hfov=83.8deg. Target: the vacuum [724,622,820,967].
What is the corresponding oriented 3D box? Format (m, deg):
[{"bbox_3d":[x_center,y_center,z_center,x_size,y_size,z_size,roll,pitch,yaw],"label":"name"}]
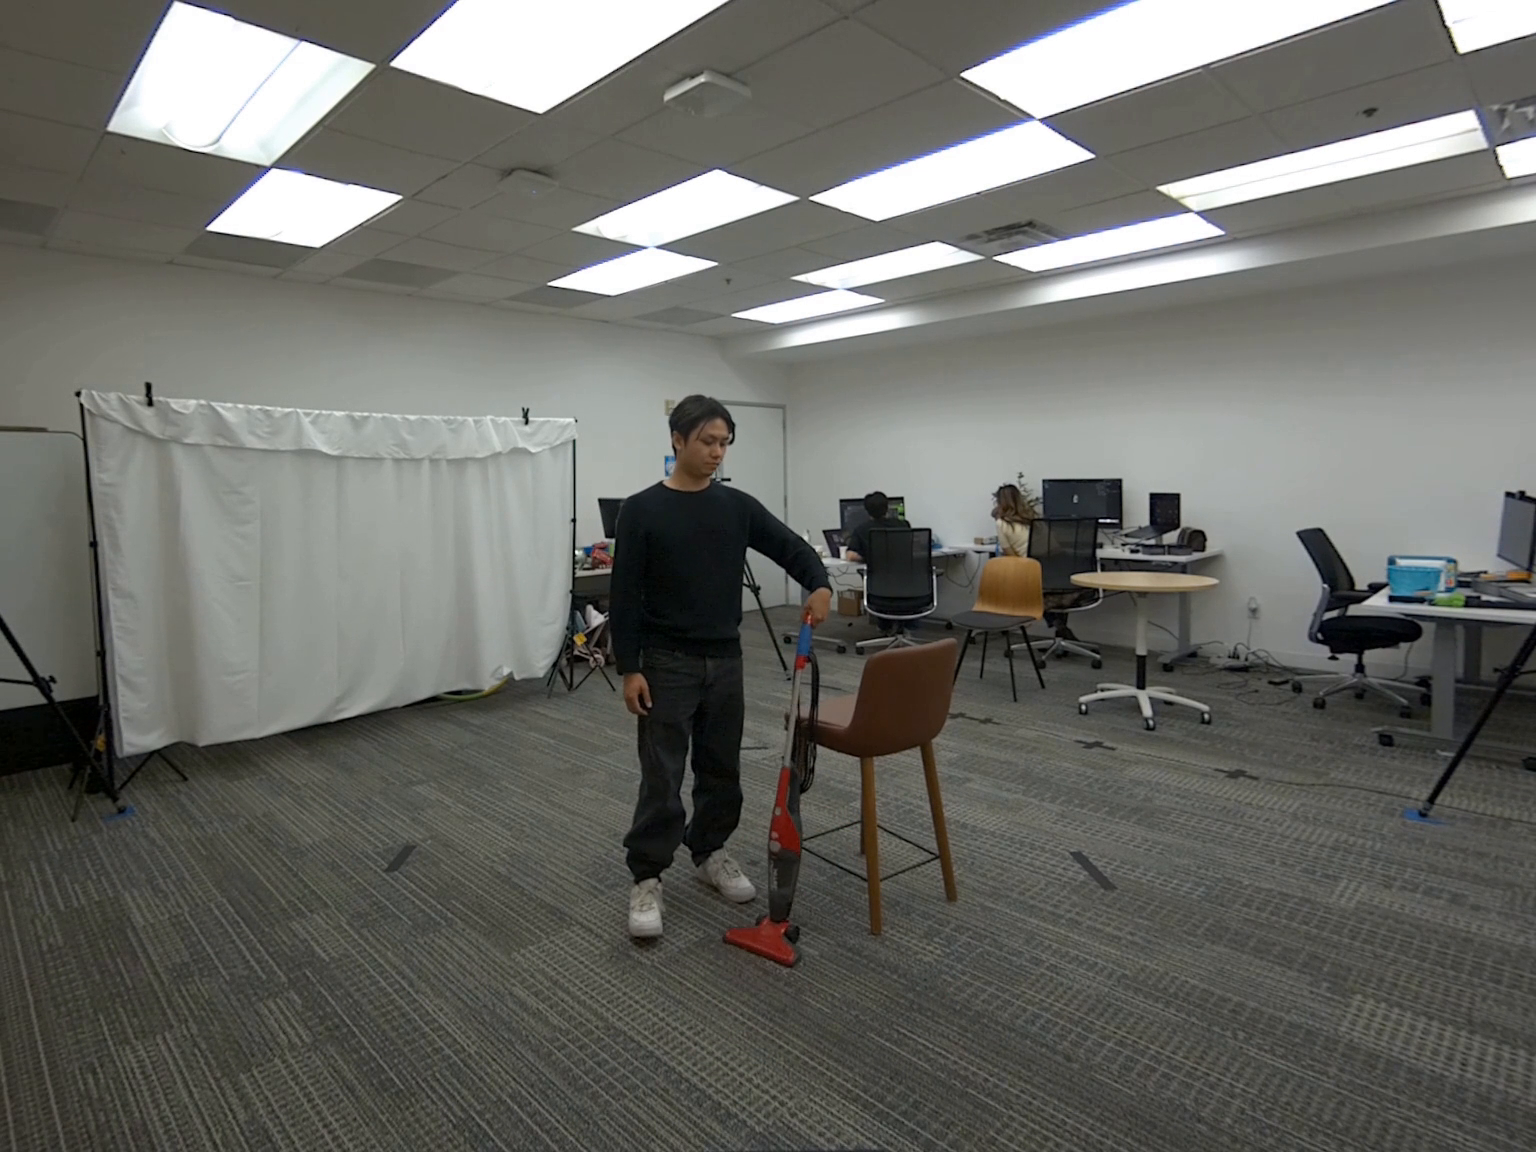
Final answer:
[{"bbox_3d":[0.080,0.587,2.645,0.260,1.058,0.139,-1,-14,40],"label":"vacuum"}]
